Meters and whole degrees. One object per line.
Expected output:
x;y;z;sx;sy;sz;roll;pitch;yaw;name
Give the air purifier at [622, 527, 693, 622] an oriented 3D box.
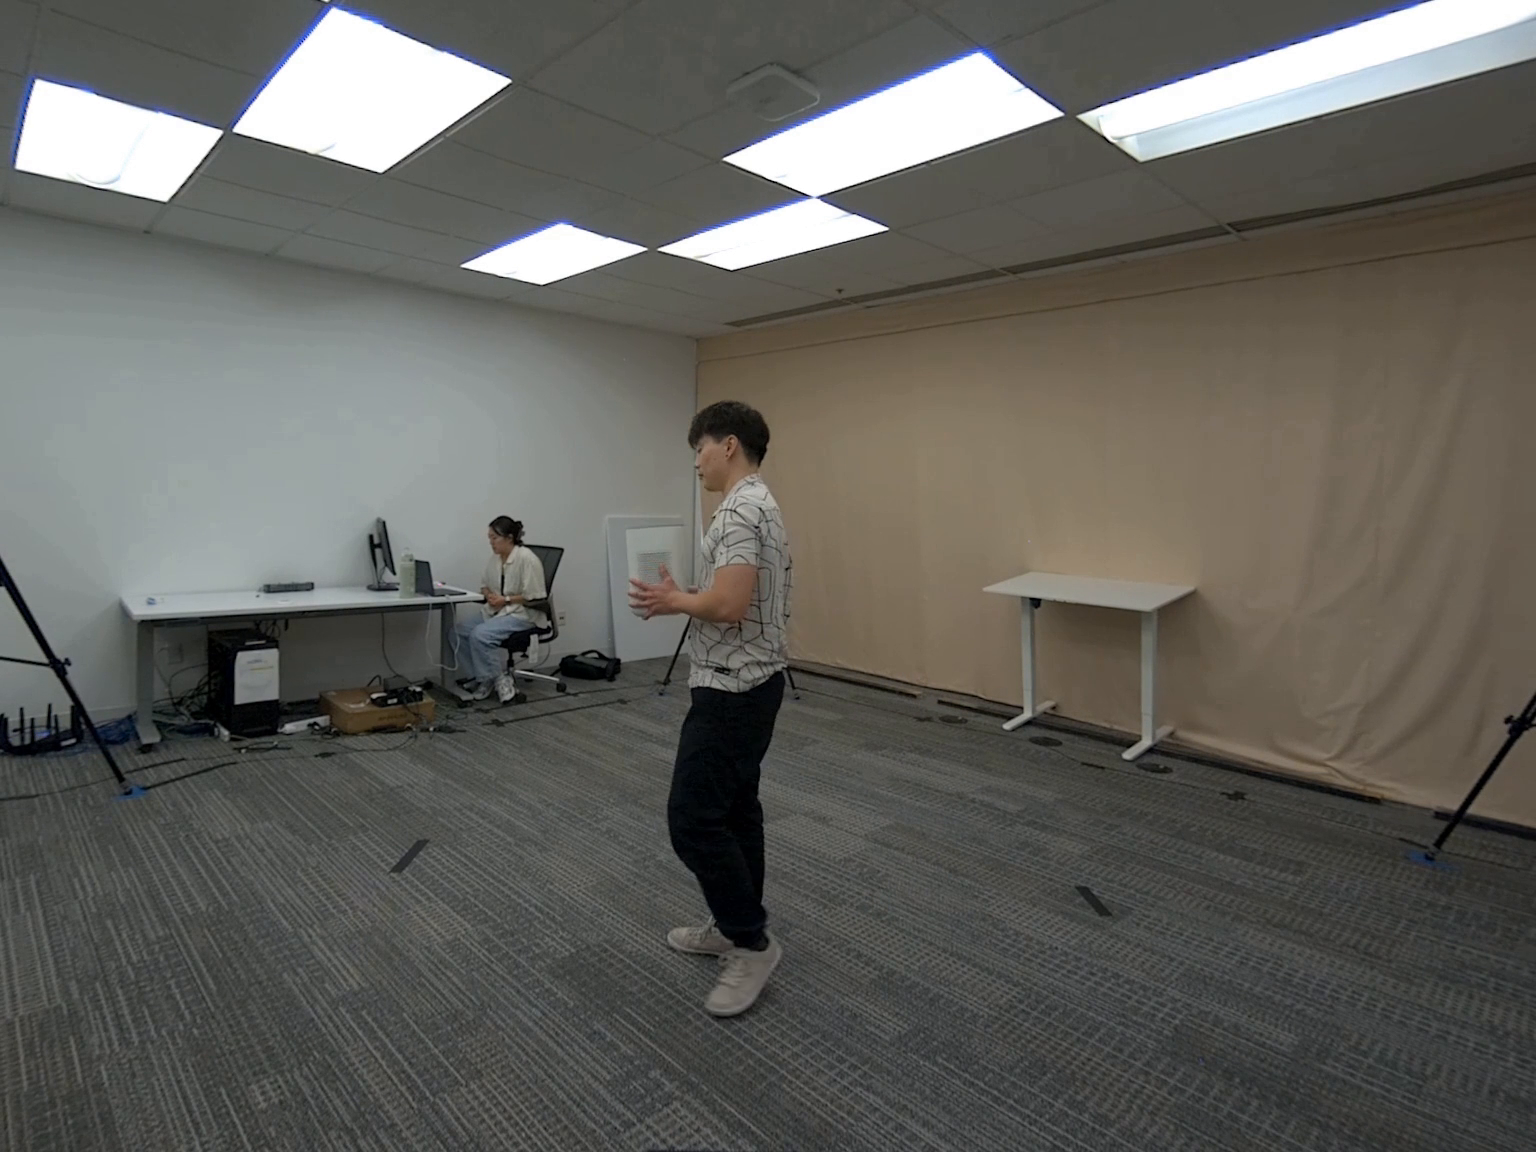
-0.327;-0.010;2.520;0.172;0.265;0.171;-2;1;4;air purifier
